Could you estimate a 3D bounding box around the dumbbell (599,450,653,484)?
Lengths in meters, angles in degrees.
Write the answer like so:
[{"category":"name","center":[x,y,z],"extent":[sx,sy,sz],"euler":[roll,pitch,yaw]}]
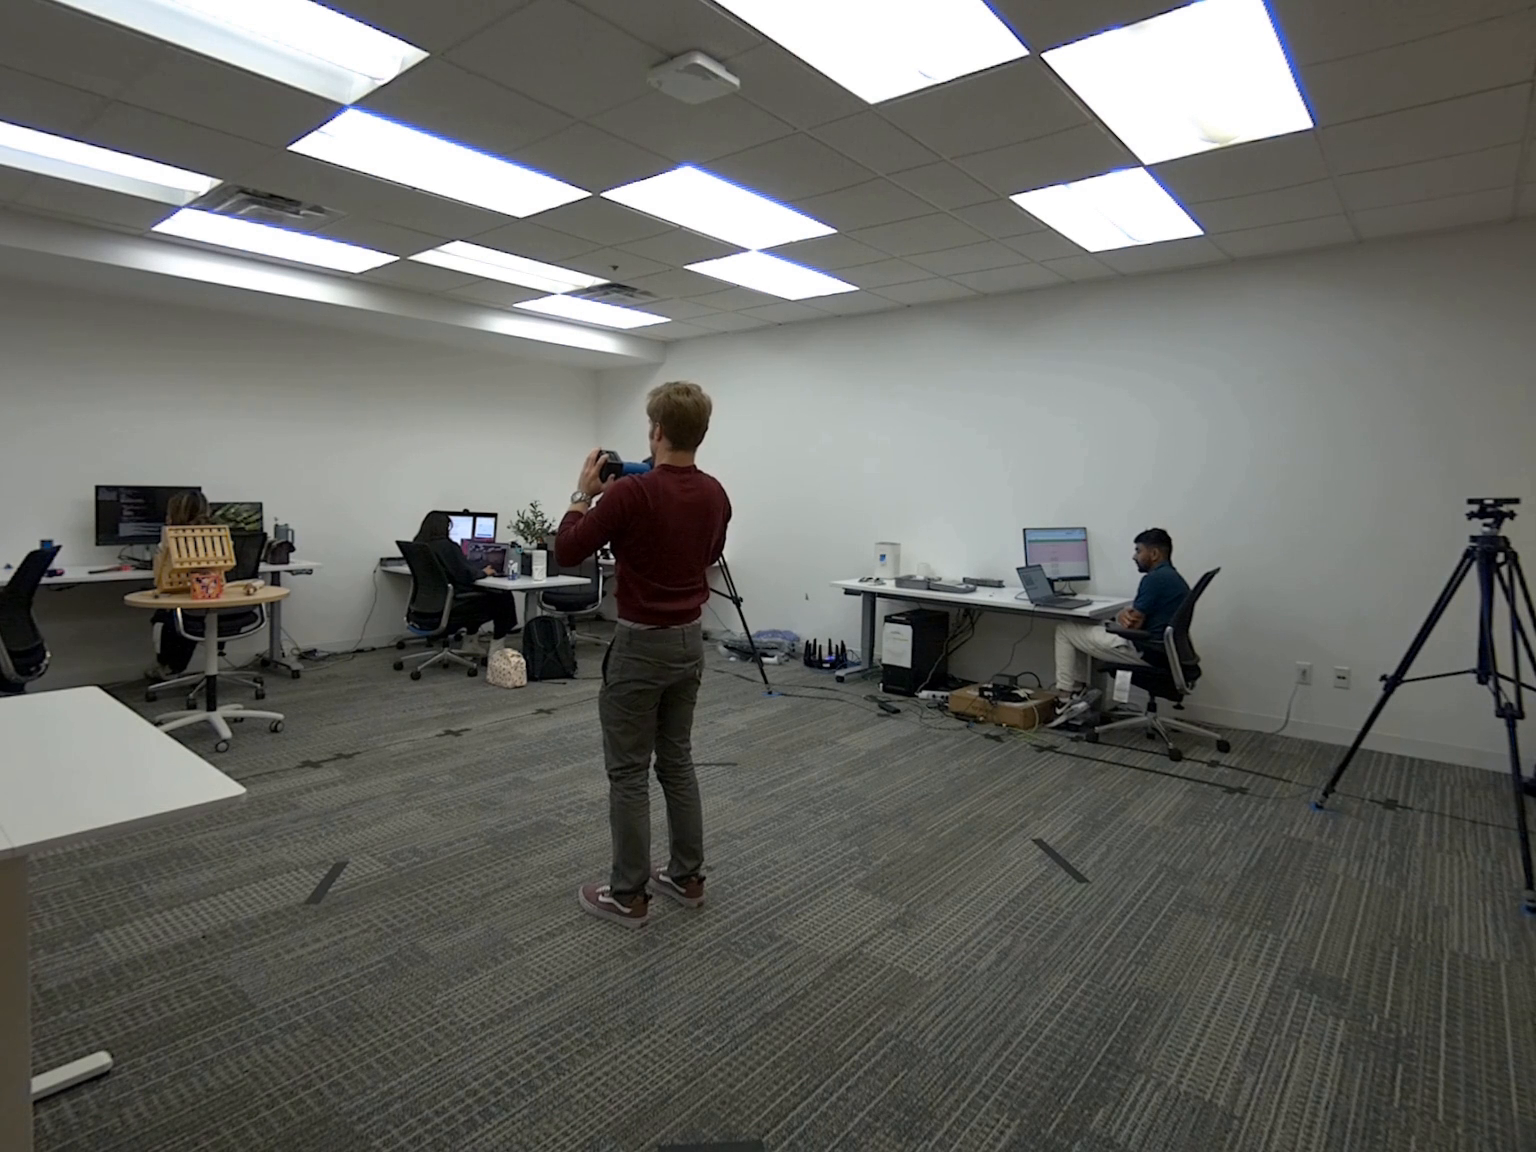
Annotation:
[{"category":"dumbbell","center":[-0.471,-0.360,2.885],"extent":[0.284,0.122,0.113],"euler":[2,18,-42]}]
